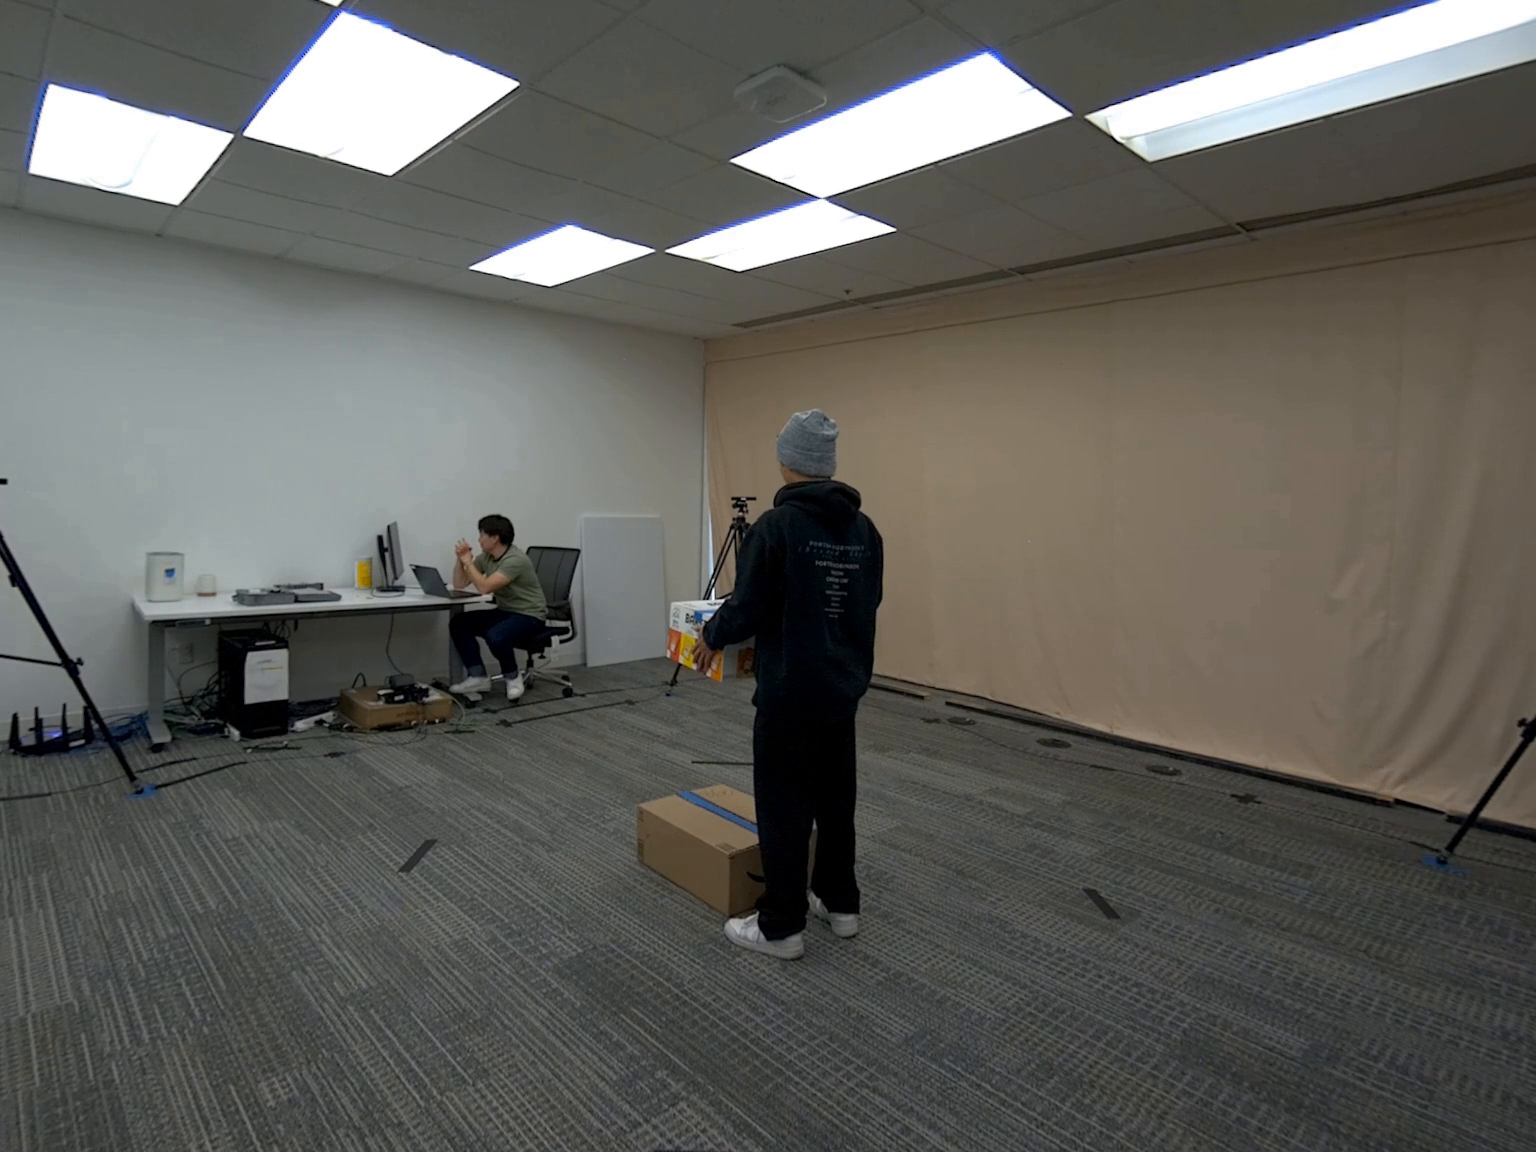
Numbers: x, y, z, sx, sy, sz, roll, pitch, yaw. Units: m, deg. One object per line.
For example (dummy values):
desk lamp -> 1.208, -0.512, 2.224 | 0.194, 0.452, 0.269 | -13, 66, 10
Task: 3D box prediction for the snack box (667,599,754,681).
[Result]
snack box -> -0.103, 0.219, 3.025 | 0.396, 0.204, 0.350 | -2, 11, -38
